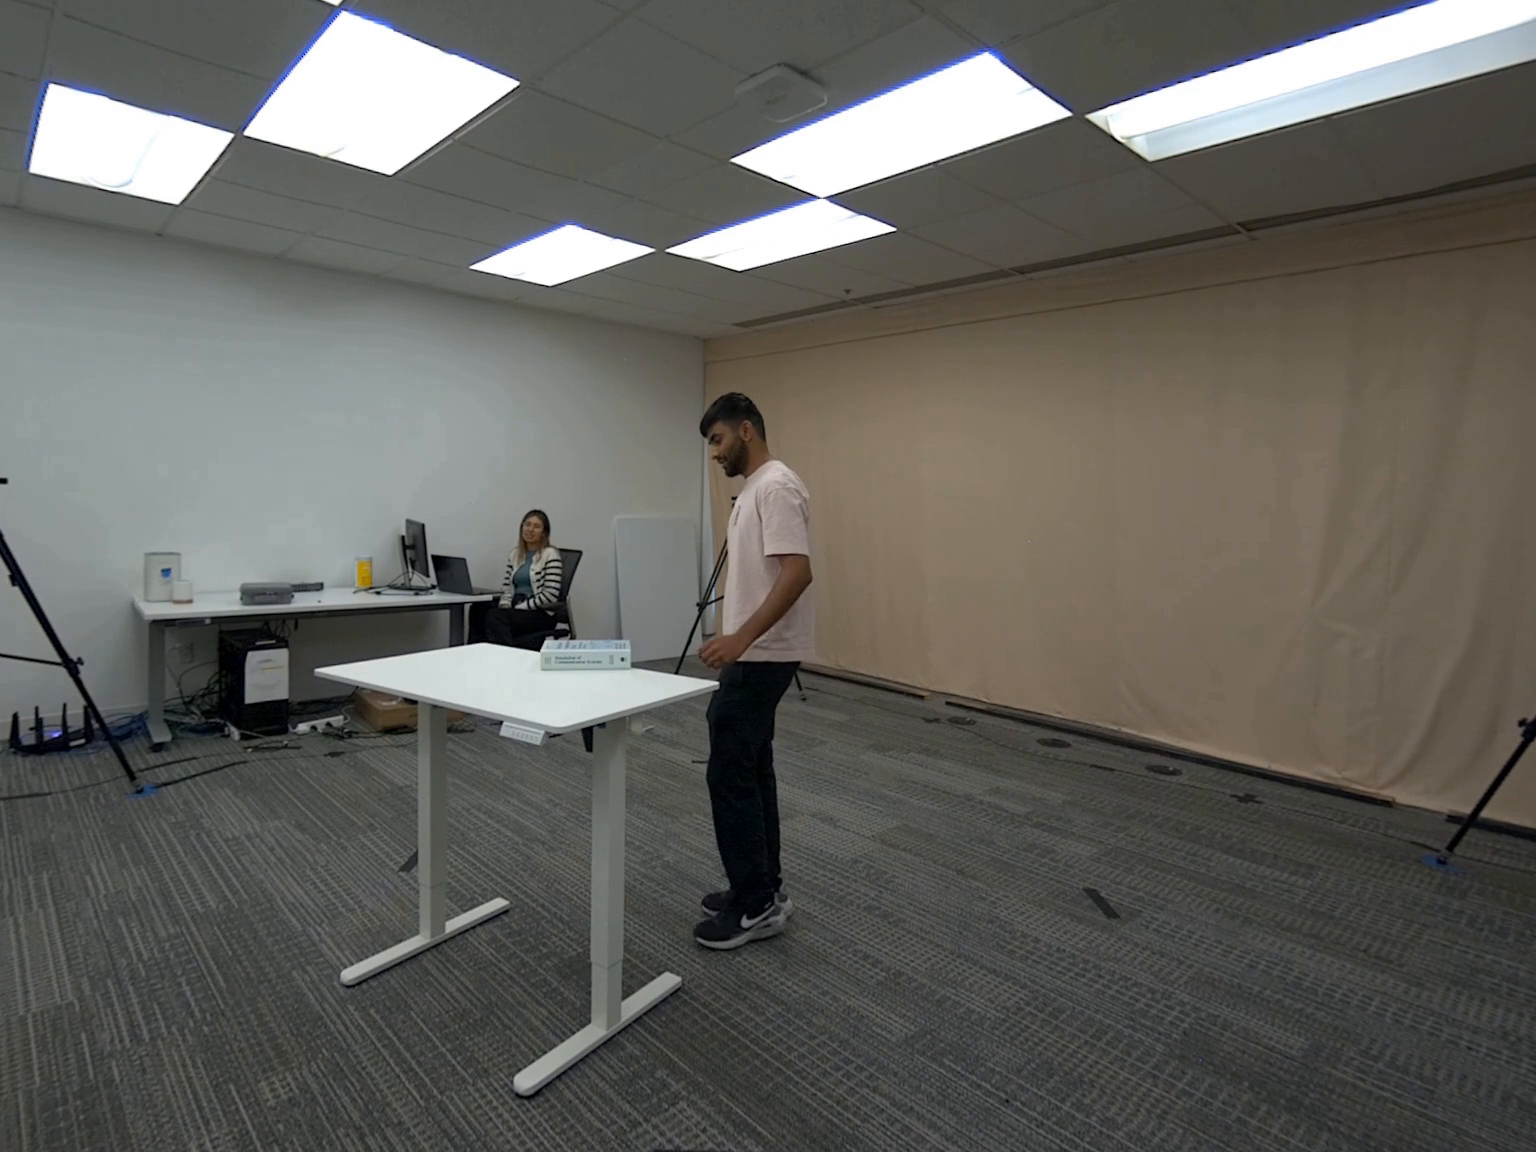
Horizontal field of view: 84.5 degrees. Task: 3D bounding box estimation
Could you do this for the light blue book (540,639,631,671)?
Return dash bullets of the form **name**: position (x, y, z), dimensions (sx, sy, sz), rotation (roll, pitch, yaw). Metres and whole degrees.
- **light blue book**: position (-0.552, 0.241, 2.523), dimensions (0.259, 0.059, 0.193), rotation (0, 5, -10)
